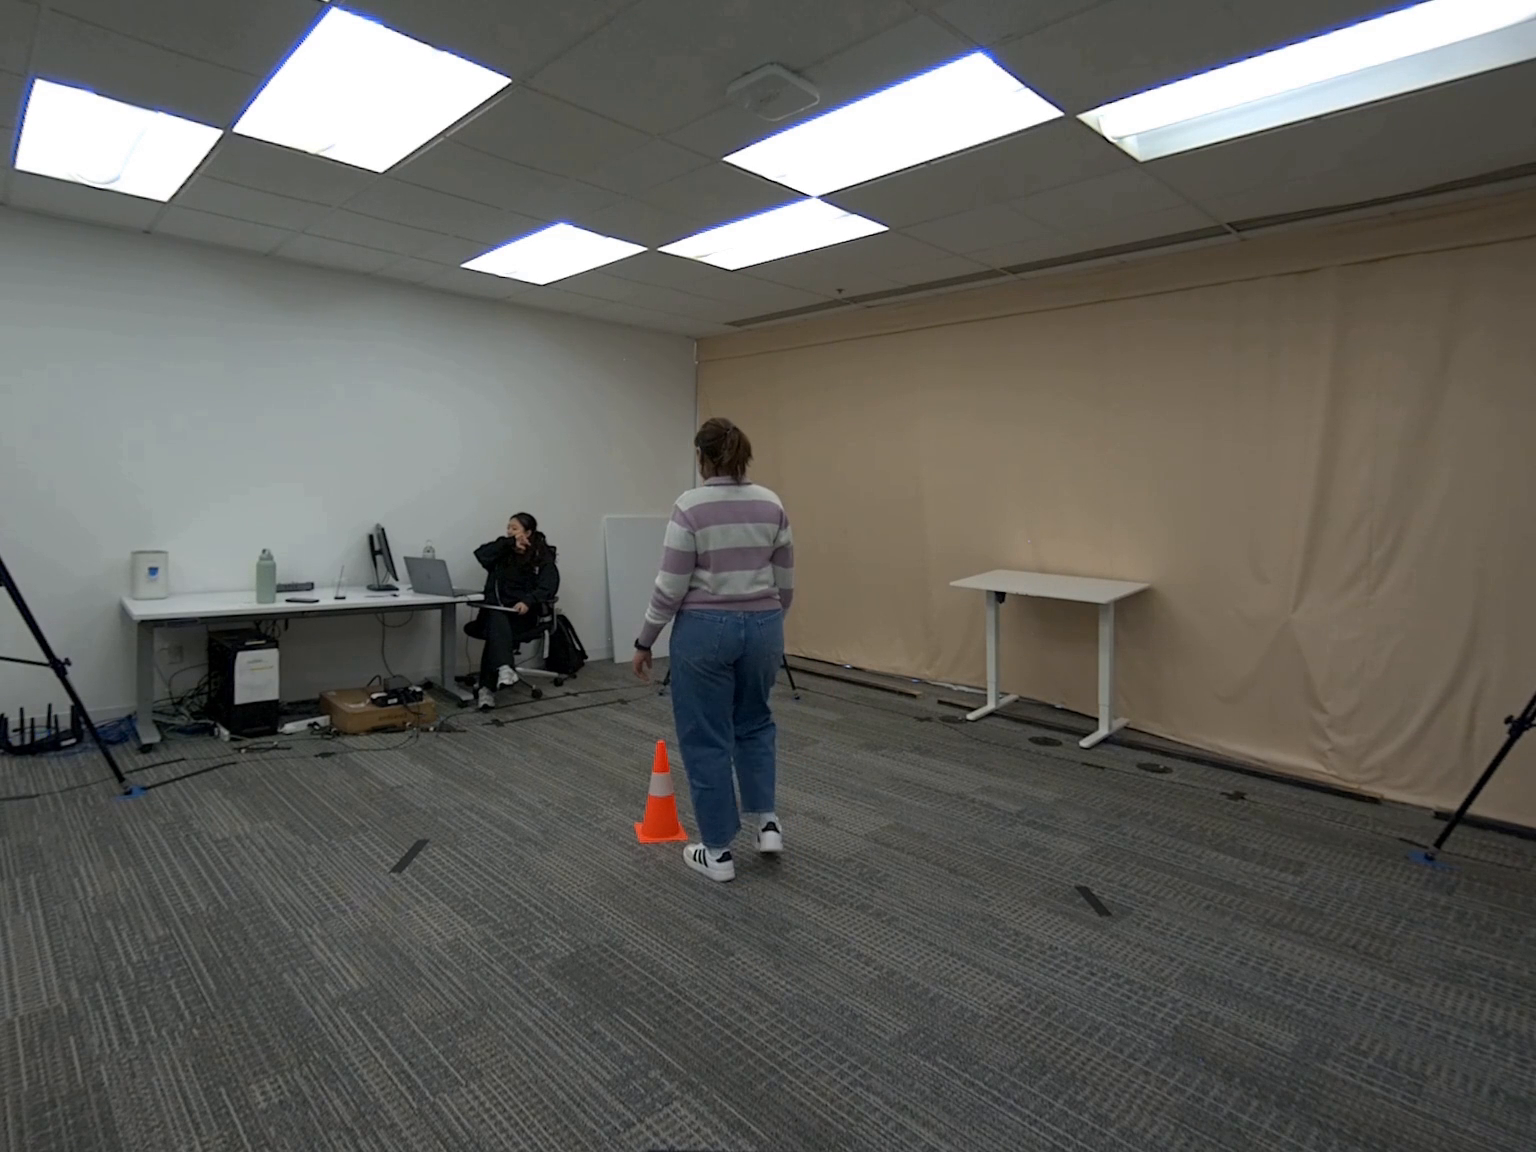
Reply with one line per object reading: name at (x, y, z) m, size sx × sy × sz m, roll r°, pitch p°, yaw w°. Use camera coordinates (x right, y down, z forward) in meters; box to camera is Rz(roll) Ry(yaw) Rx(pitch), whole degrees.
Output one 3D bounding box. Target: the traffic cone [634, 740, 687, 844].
traffic cone at (-0.451, 0.878, 3.477) m, size 0.201 × 0.382 × 0.207 m, roll 0°, pitch 5°, yaw -12°
